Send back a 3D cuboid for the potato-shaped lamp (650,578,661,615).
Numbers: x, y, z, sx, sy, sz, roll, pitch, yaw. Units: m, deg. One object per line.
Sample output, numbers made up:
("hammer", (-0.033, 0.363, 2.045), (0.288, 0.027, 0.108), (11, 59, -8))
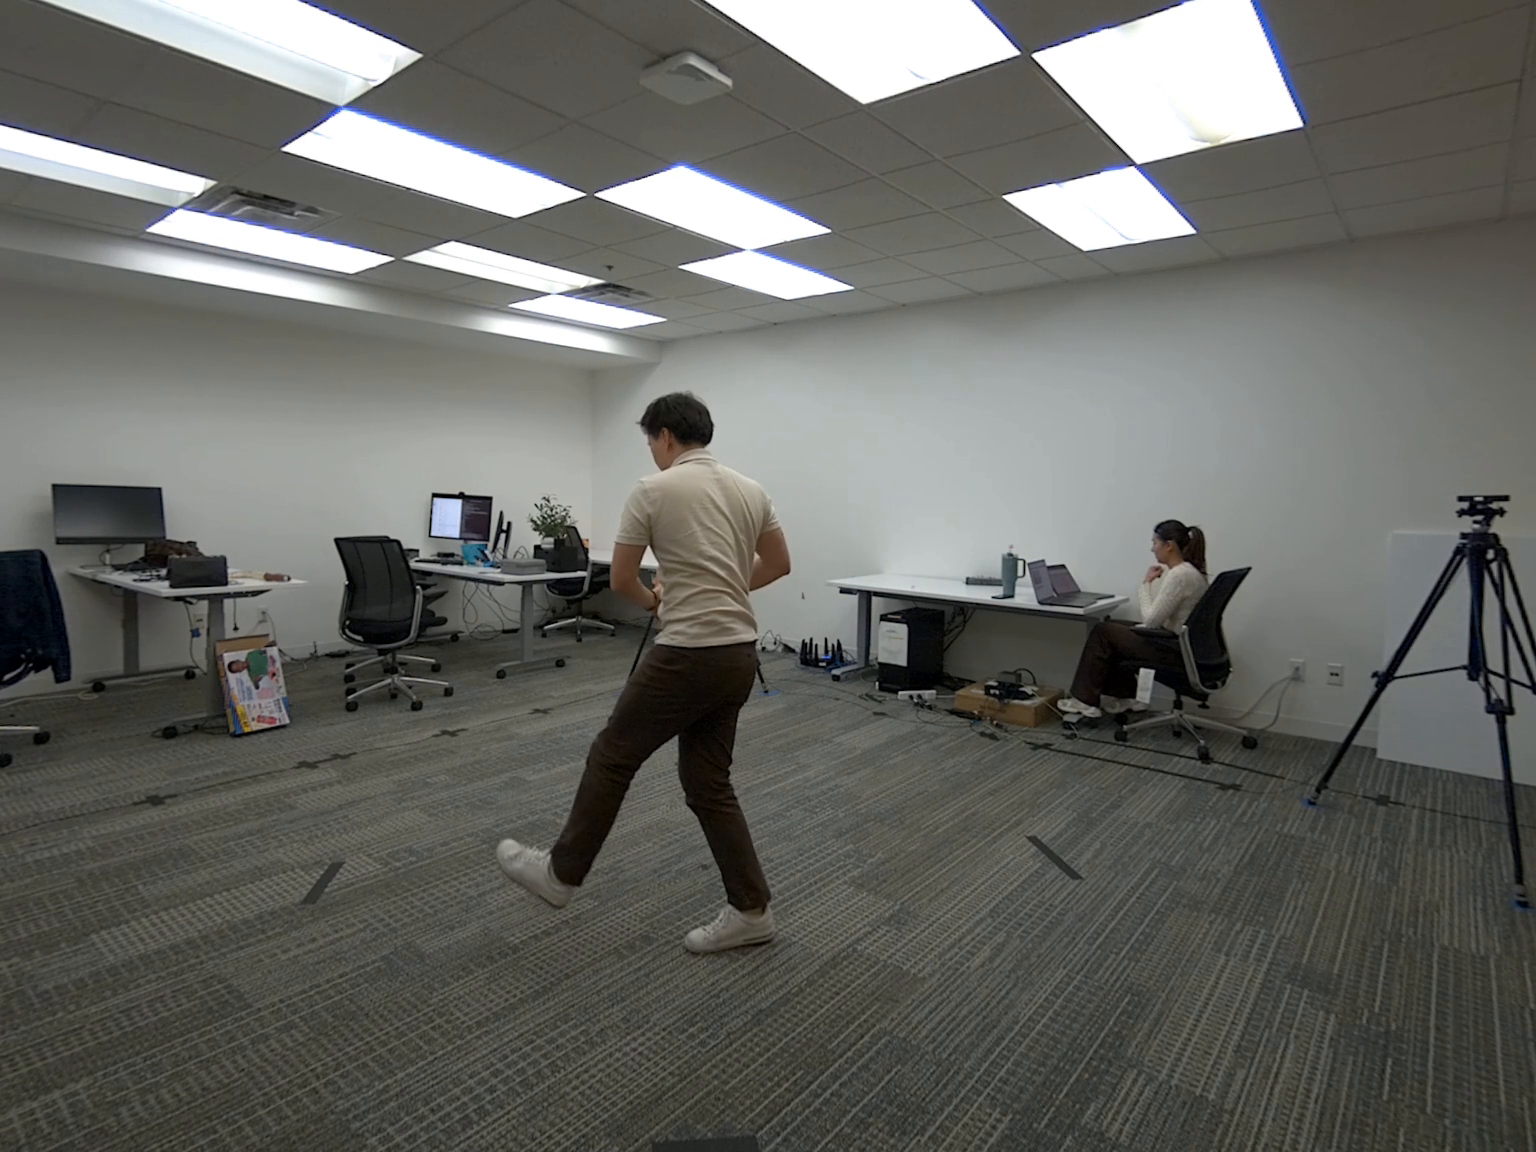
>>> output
("potato-shaped lamp", (-0.333, 0.047, 2.880), (0.175, 0.200, 0.159), (-11, -13, 34))
